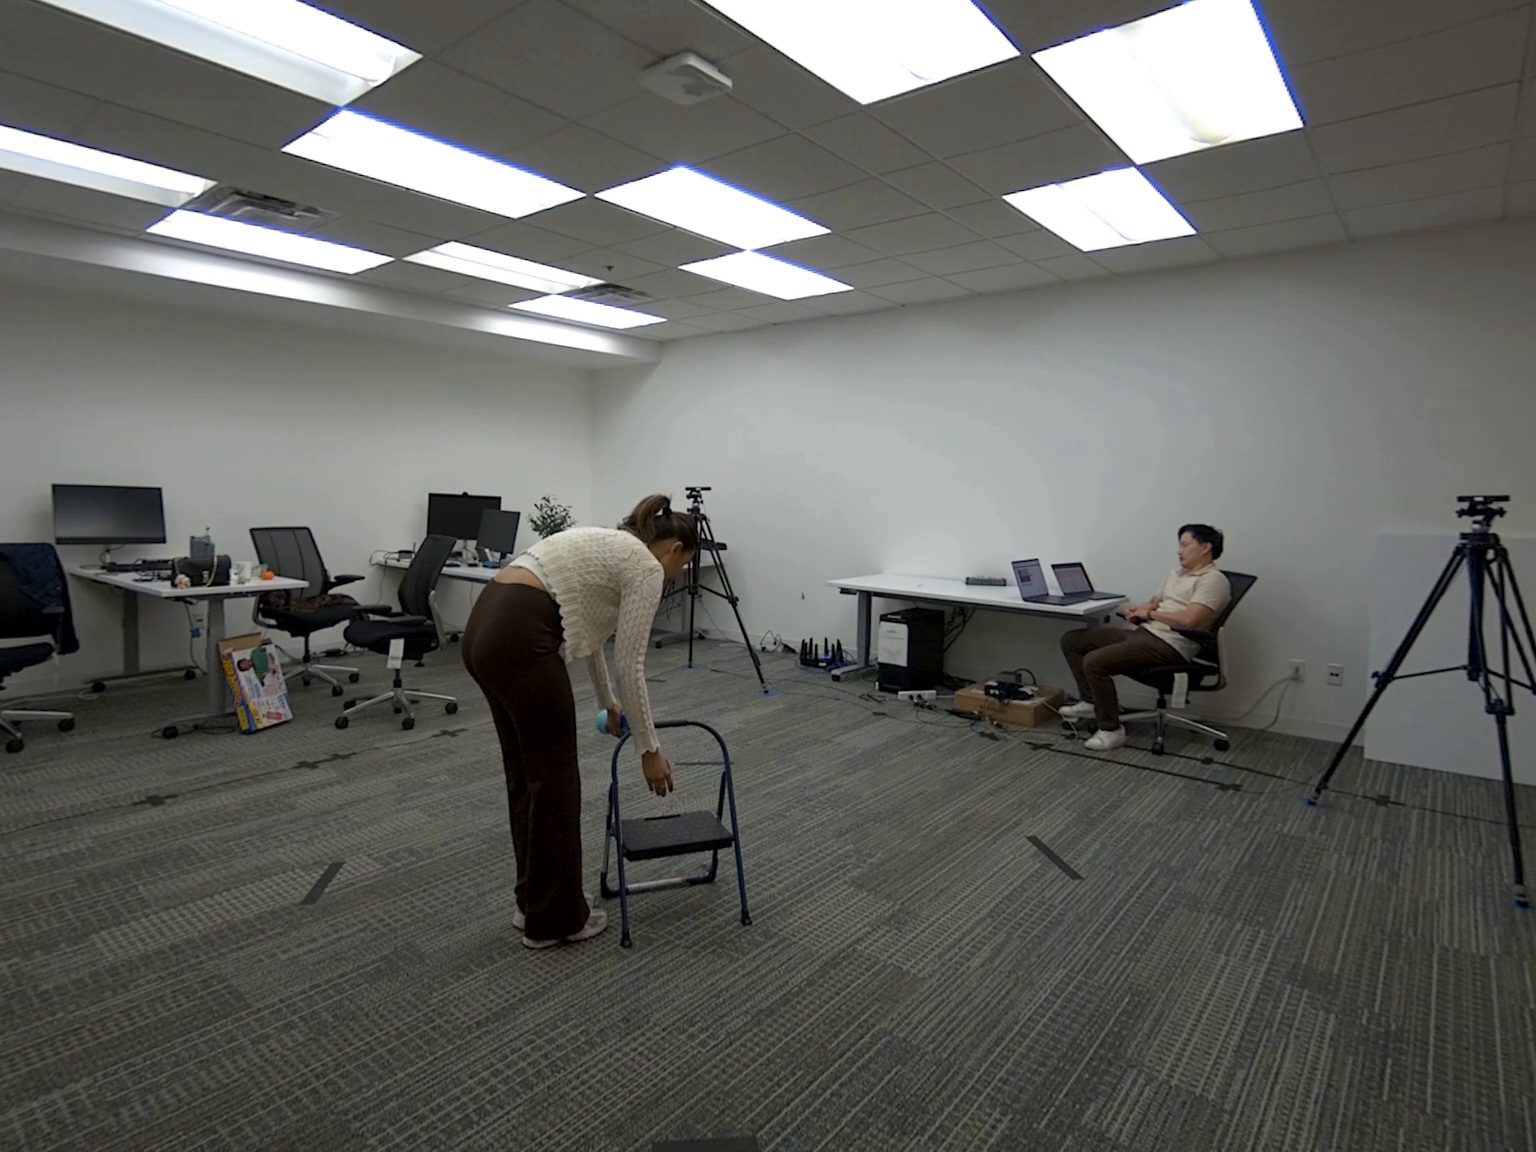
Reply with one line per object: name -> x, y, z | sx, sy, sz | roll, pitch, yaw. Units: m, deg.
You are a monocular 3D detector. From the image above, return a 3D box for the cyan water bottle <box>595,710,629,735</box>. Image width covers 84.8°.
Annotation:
cyan water bottle -> -0.529, 0.532, 3.099 | 0.089, 0.093, 0.290 | -2, -5, -38
